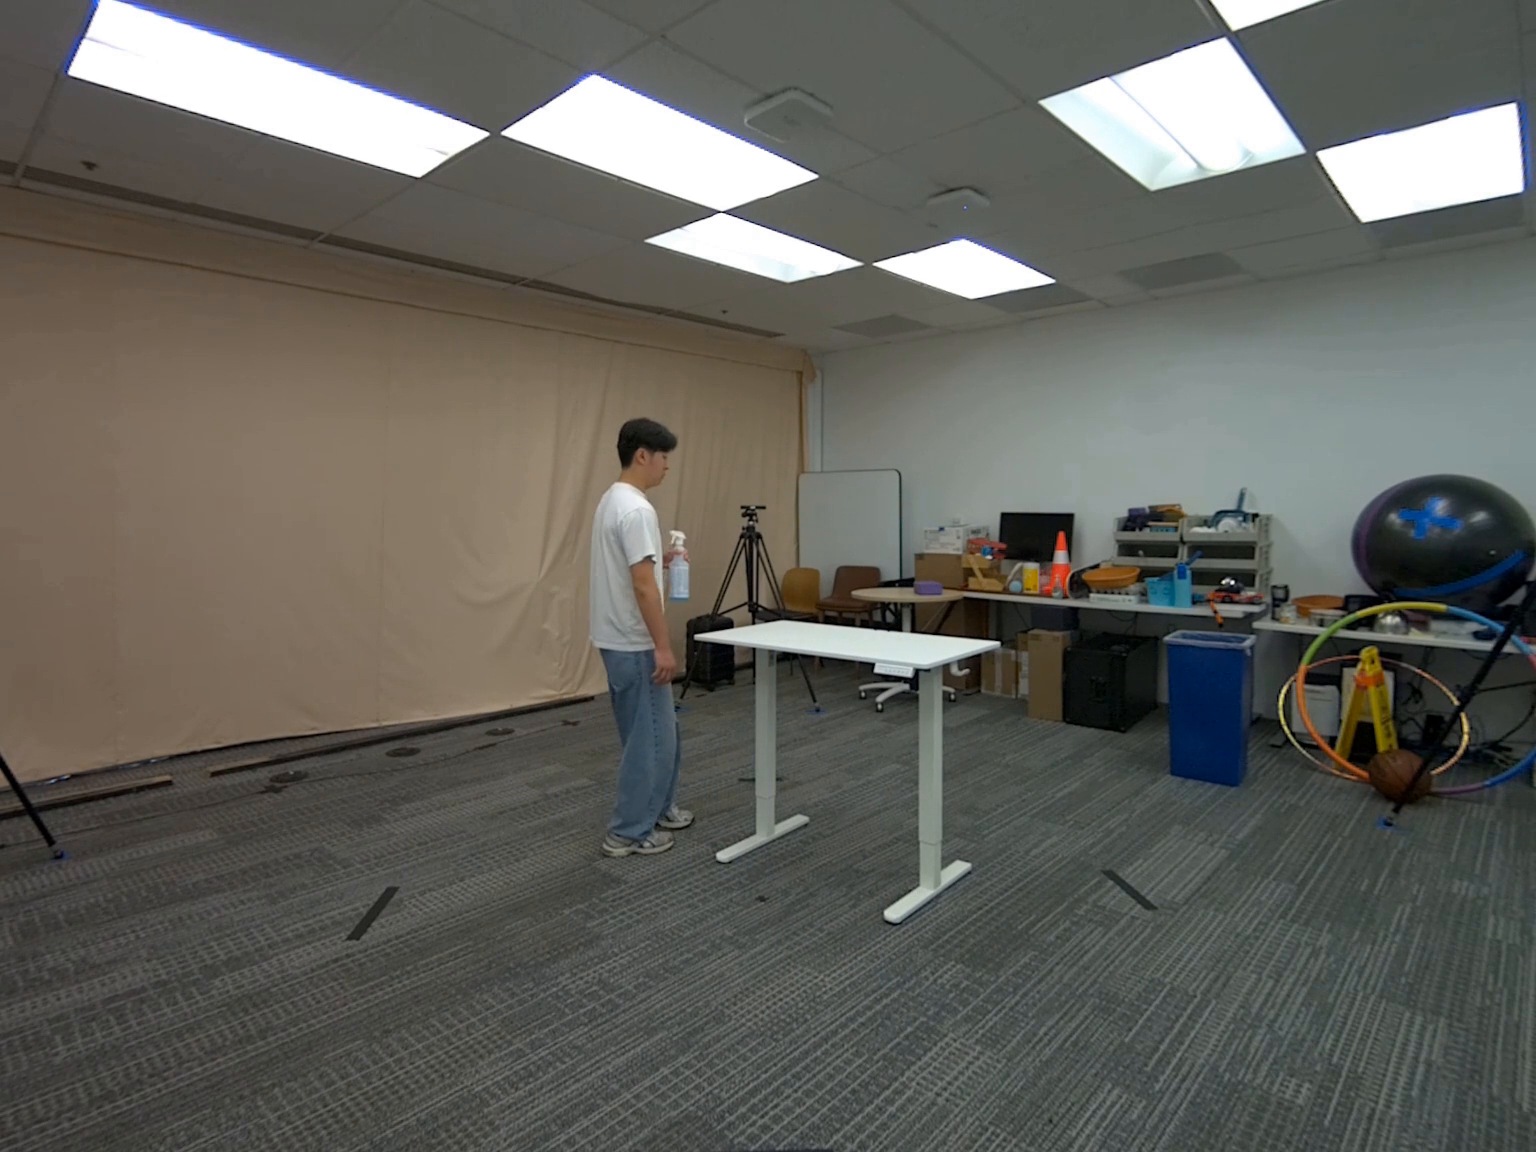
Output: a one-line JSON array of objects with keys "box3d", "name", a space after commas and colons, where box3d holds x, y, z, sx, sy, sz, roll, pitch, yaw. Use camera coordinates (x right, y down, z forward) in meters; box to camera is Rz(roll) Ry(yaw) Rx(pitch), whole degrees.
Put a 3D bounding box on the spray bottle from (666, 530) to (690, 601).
[{"box3d": [-0.385, -0.040, 3.597, 0.088, 0.297, 0.089, -2, -1, -29], "name": "spray bottle"}]
